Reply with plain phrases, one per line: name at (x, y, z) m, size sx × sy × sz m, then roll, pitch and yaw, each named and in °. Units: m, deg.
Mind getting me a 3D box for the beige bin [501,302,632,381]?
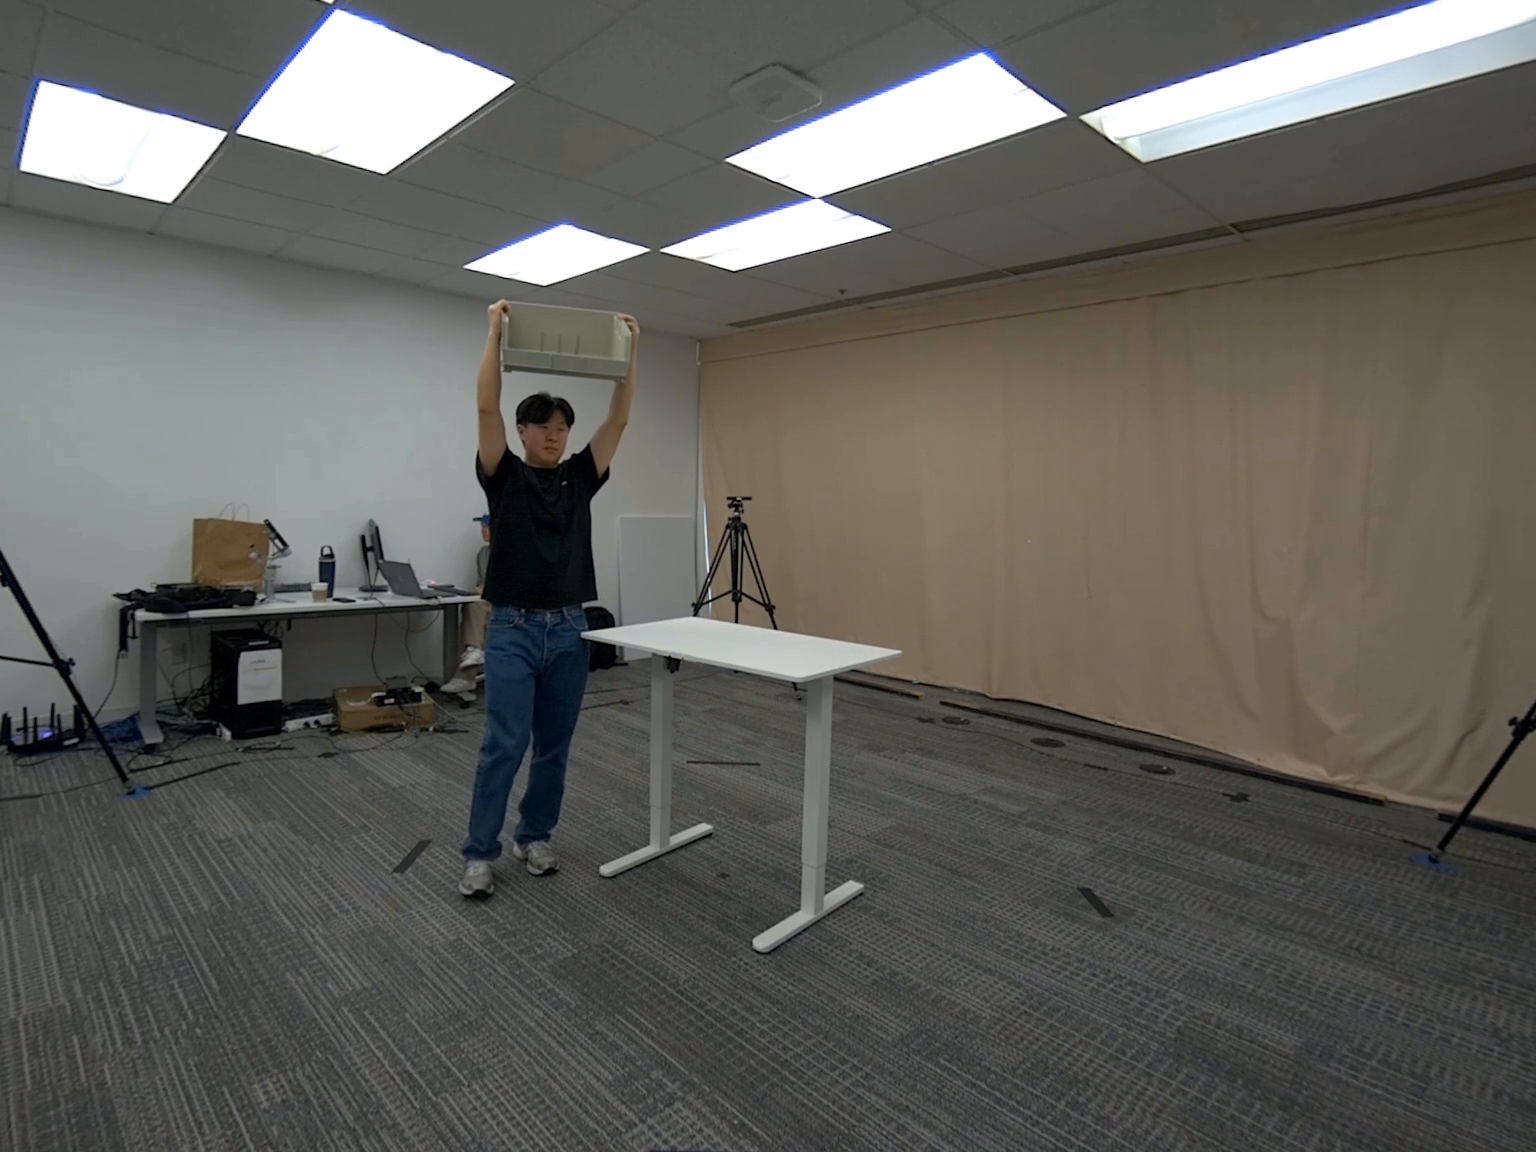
beige bin at (-0.721, -0.813, 2.938) m, size 0.417 × 0.186 × 0.387 m, roll 1°, pitch 26°, yaw -17°
